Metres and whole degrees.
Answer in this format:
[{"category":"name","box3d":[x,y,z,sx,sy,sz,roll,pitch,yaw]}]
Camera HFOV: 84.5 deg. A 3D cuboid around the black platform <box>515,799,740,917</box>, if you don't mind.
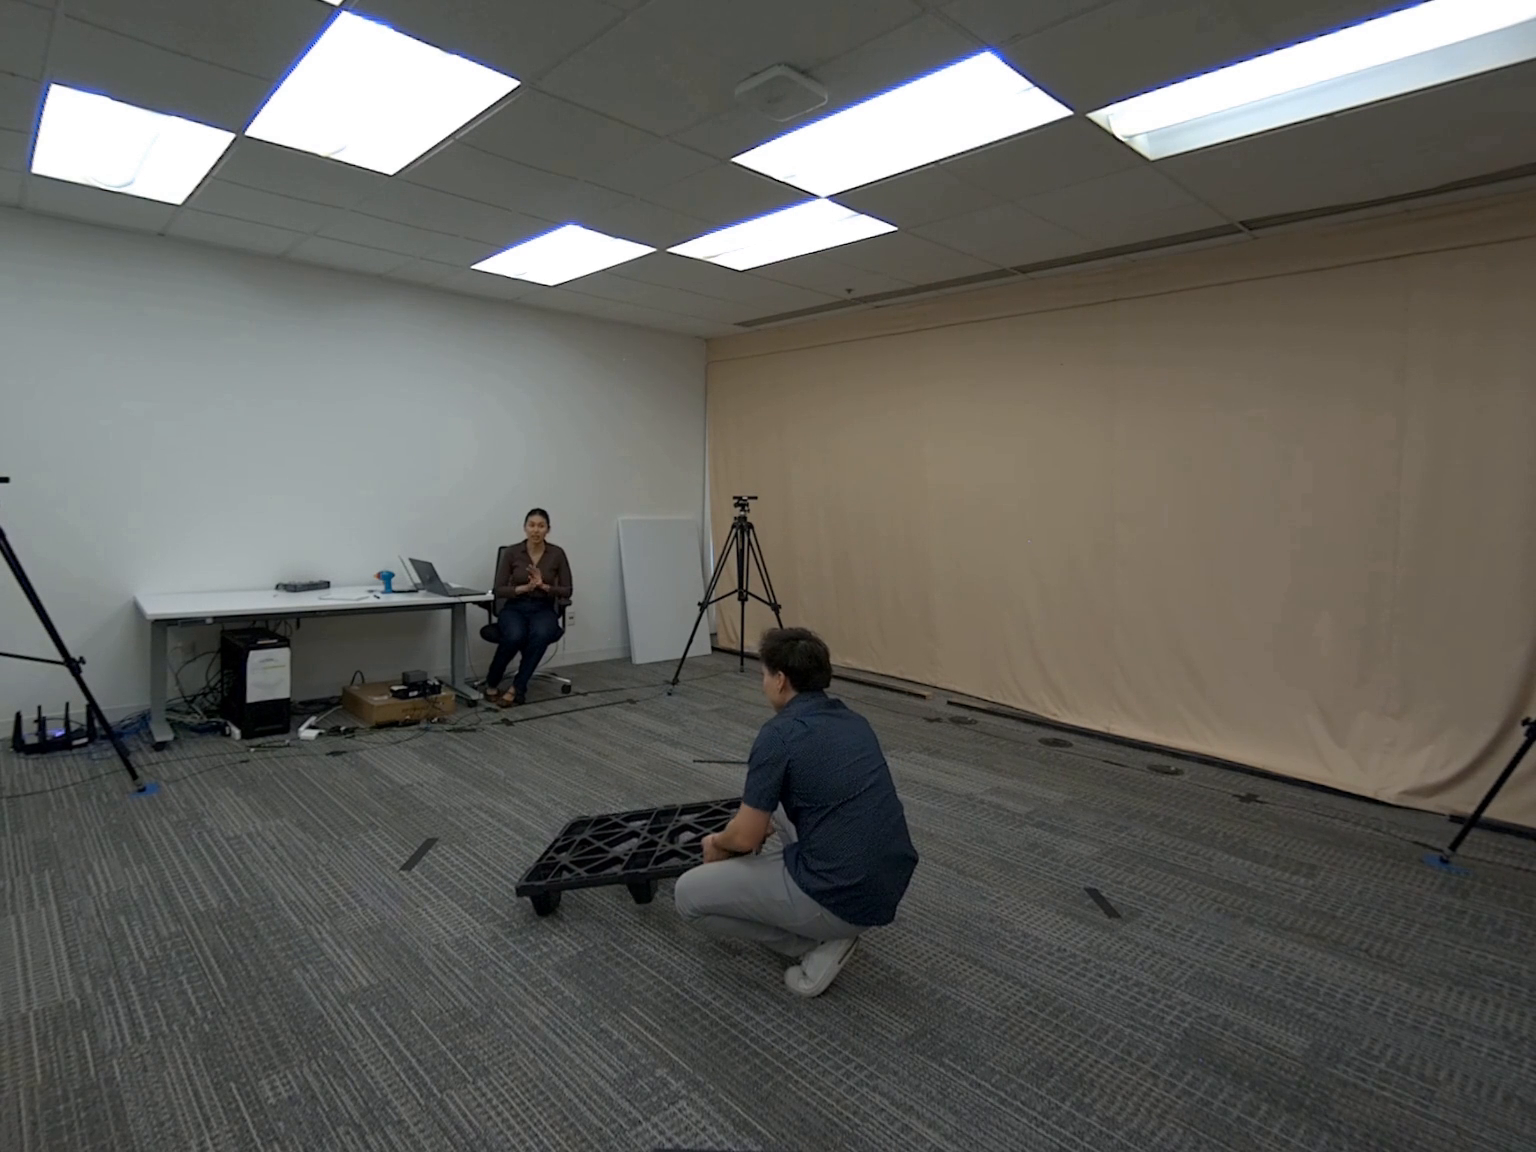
[{"category":"black platform","box3d":[-0.394,0.975,2.949,0.810,0.143,0.604,-9,5,7]}]
